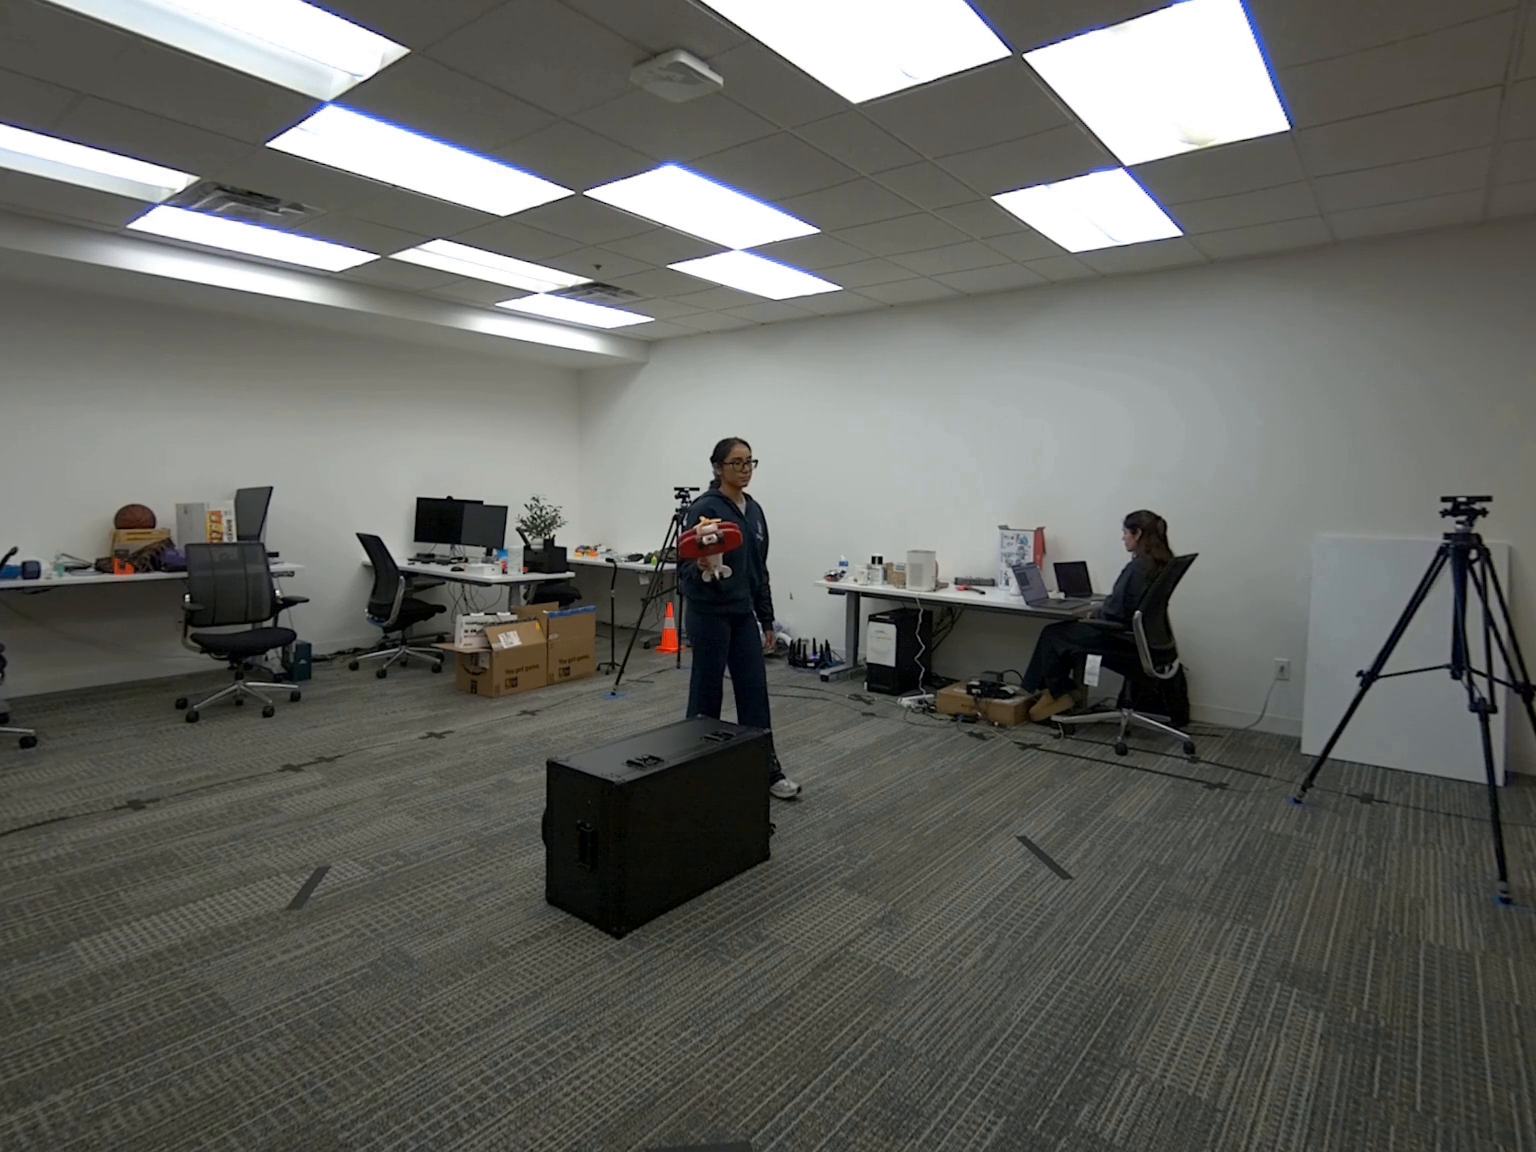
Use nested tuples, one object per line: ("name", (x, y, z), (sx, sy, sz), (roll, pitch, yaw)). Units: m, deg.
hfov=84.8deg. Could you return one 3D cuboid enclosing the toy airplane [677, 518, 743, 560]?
("toy airplane", (-0.250, -0.107, 3.442), (0.247, 0.255, 0.161), (10, 32, -15))
